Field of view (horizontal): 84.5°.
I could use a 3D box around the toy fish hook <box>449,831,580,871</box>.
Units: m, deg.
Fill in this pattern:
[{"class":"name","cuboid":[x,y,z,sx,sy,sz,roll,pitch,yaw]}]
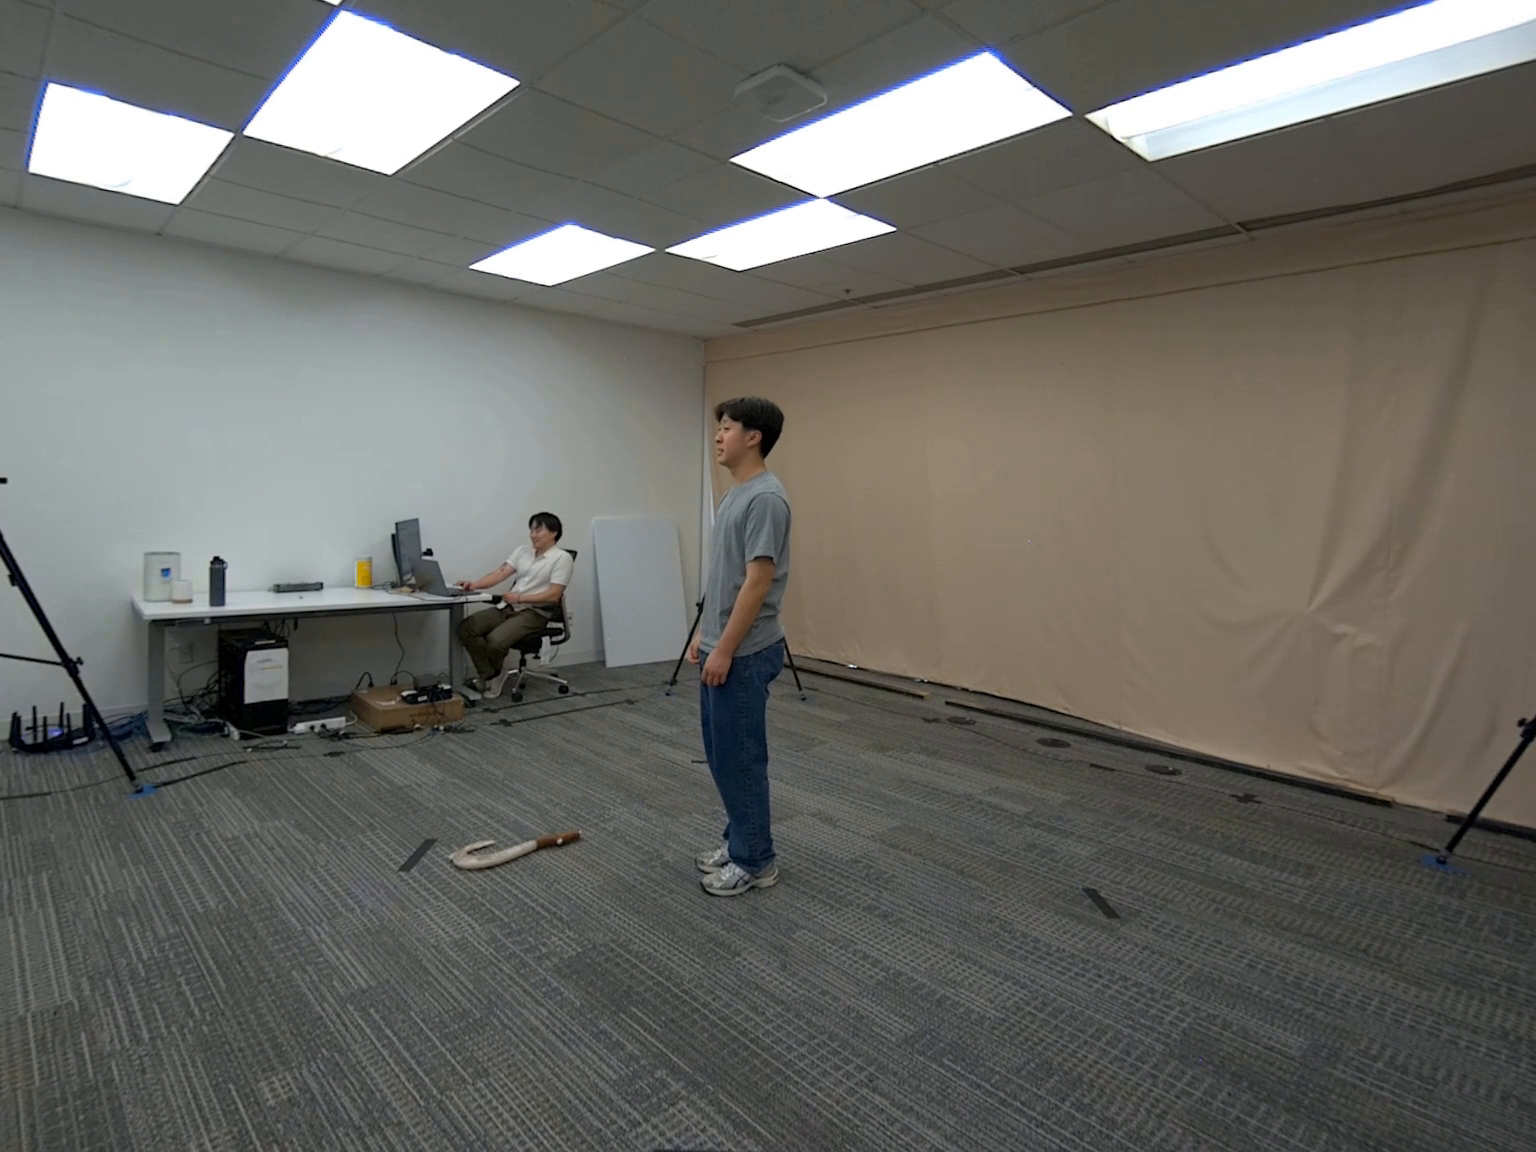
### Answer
[{"class":"toy fish hook","cuboid":[-0.984,1.045,3.290,0.495,0.048,0.230,-2,8,-38]}]
